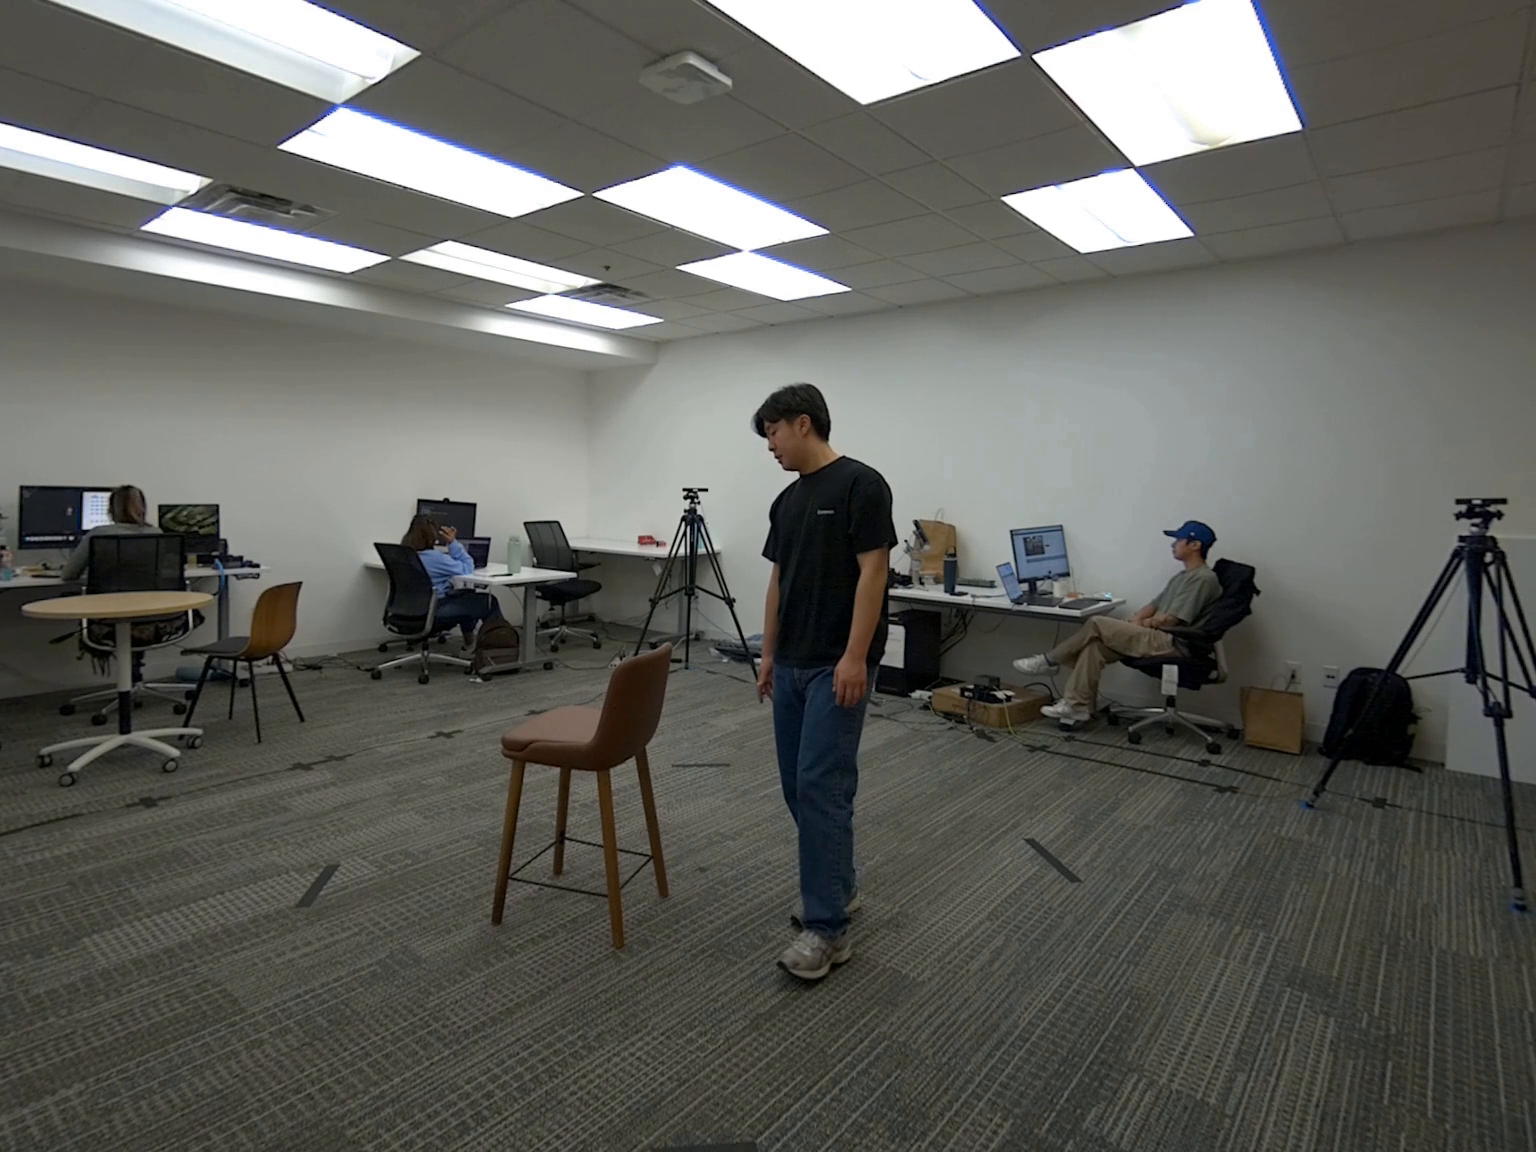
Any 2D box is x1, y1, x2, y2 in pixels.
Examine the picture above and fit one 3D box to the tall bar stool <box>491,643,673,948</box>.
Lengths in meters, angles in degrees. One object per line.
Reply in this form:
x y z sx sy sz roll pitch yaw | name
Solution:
-0.602 0.657 2.784 0.478 0.887 0.448 4 4 19 | tall bar stool
